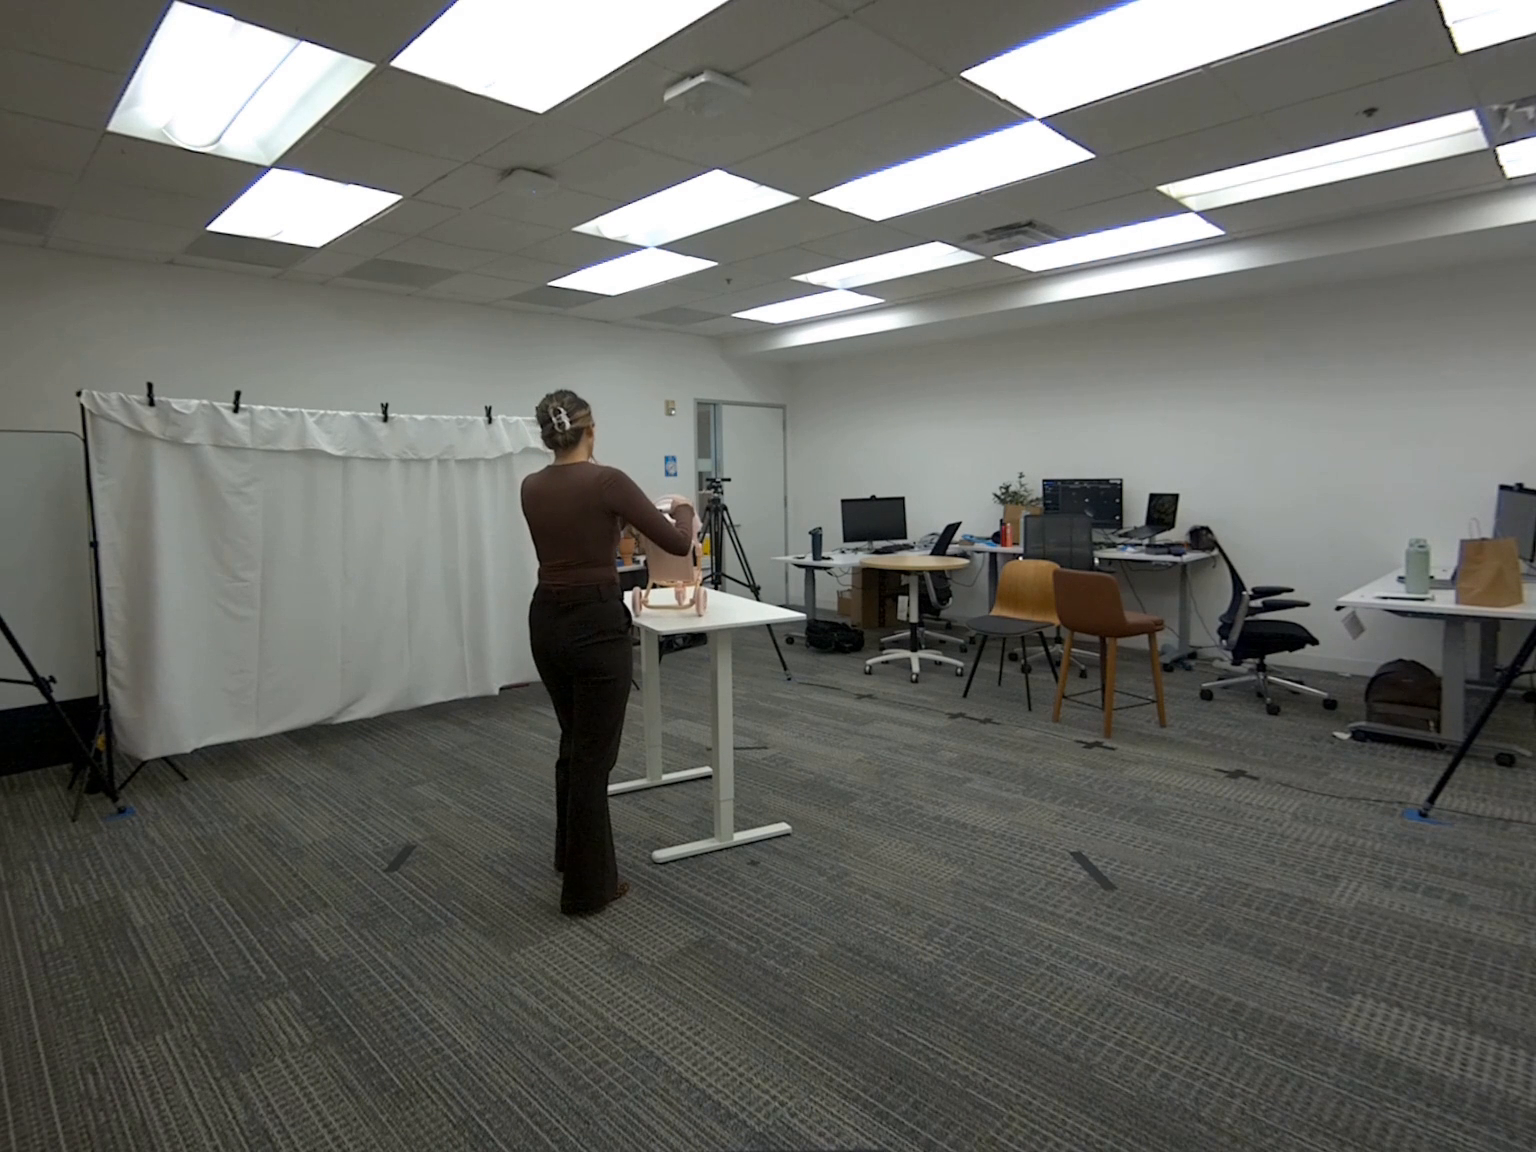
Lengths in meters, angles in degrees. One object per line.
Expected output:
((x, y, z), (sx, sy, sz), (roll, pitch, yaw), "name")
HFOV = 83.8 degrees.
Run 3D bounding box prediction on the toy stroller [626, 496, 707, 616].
((-0.370, -0.074, 3.308), (0.284, 0.526, 0.344), (1, 20, 9), "toy stroller")
